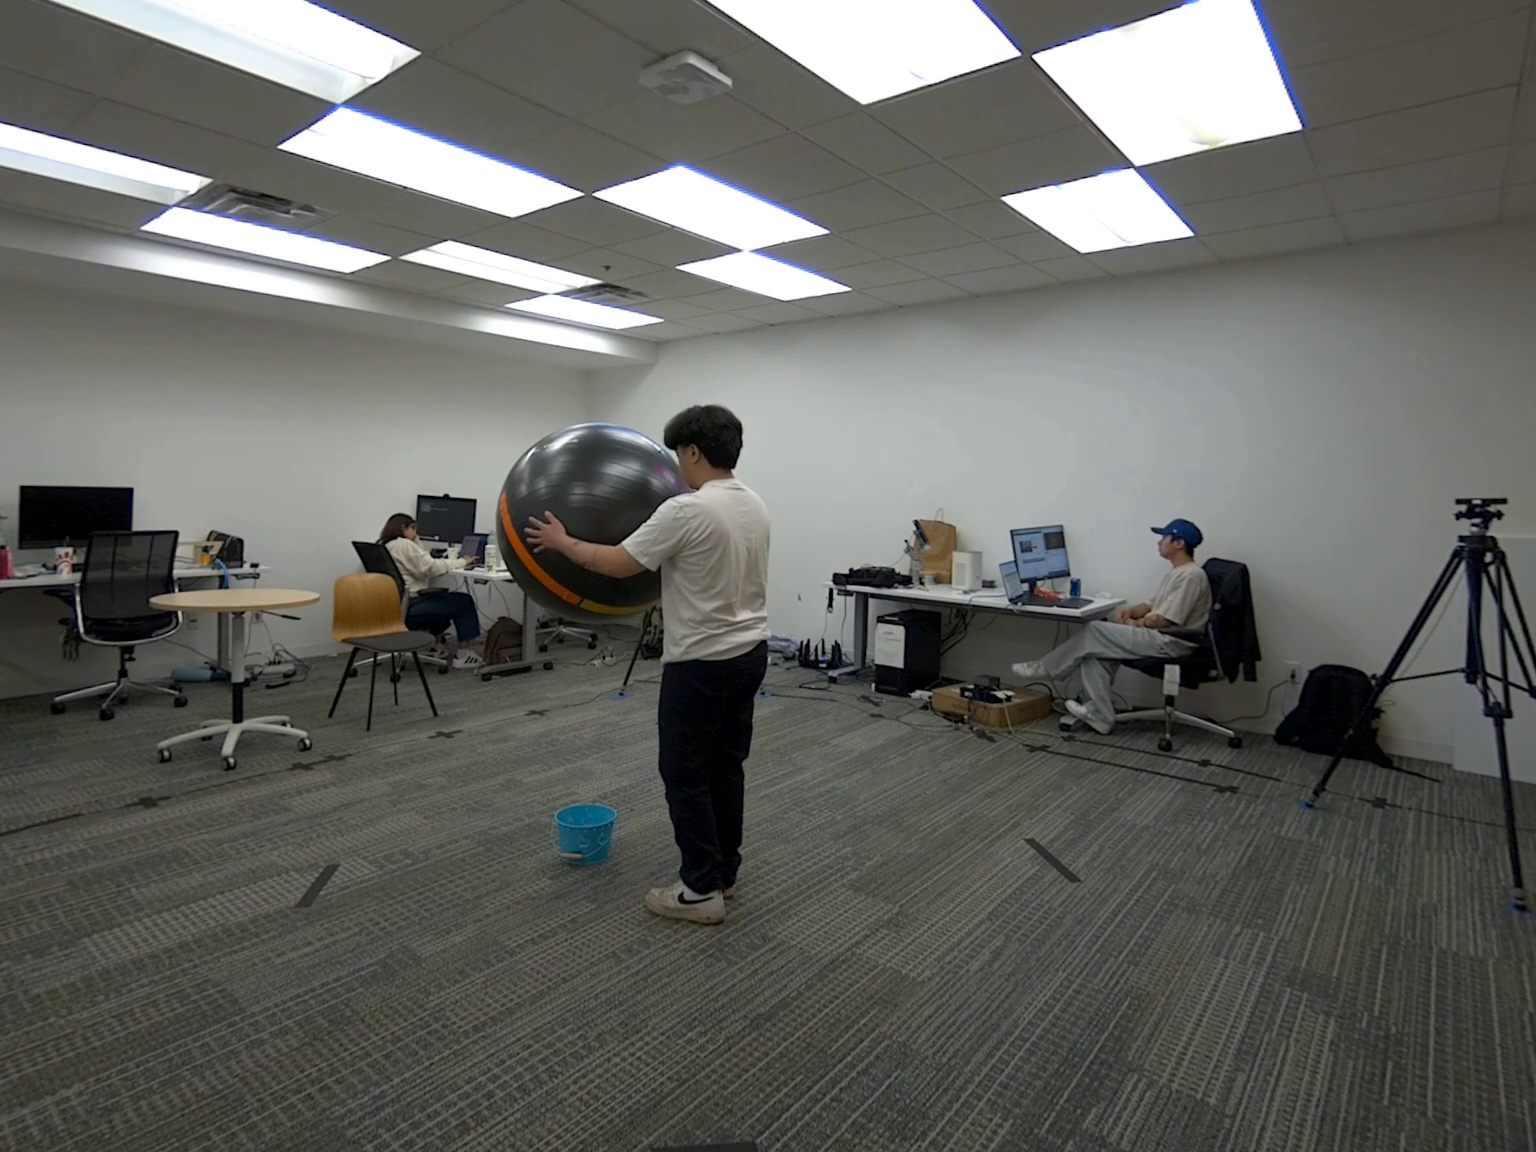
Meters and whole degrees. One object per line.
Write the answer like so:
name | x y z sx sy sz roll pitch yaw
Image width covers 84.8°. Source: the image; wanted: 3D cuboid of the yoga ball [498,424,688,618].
yoga ball | -0.664 -0.198 3.244 0.757 0.755 0.762 1 4 -2
